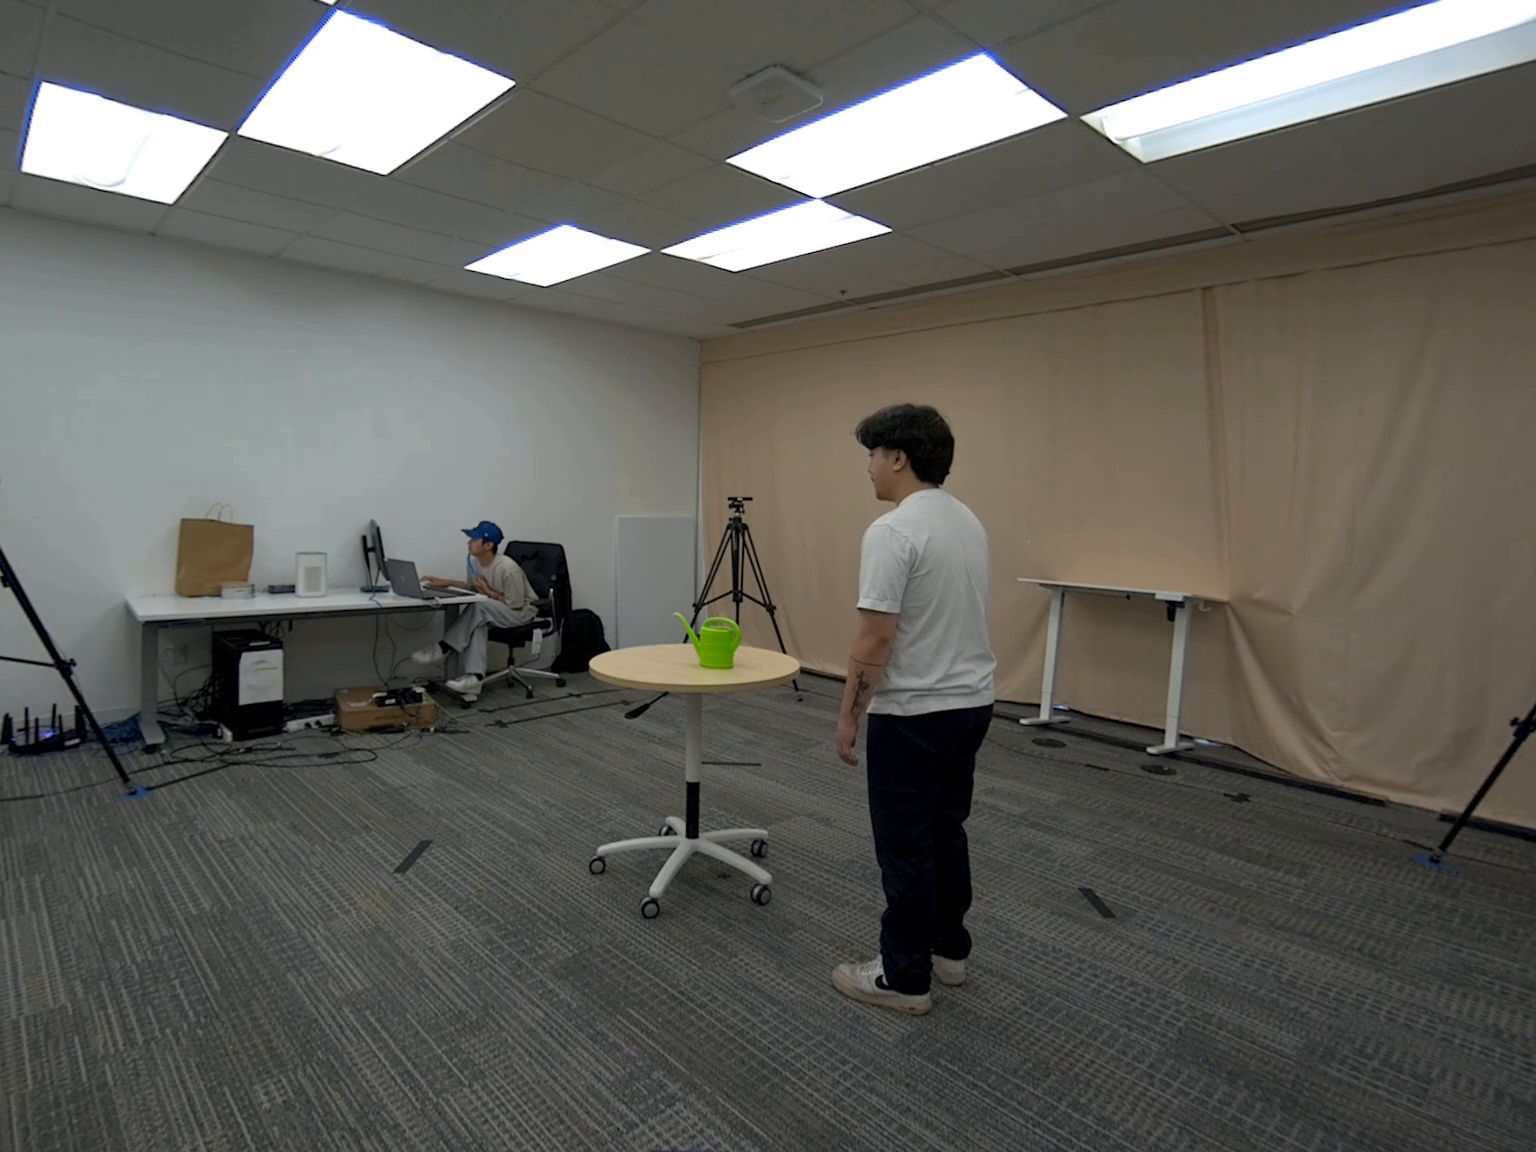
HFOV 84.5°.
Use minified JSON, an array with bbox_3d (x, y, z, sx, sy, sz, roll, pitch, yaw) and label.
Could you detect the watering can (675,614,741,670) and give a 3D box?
[{"bbox_3d":[-0.226,0.234,3.025,0.285,0.176,0.096,6,8,41],"label":"watering can"}]
